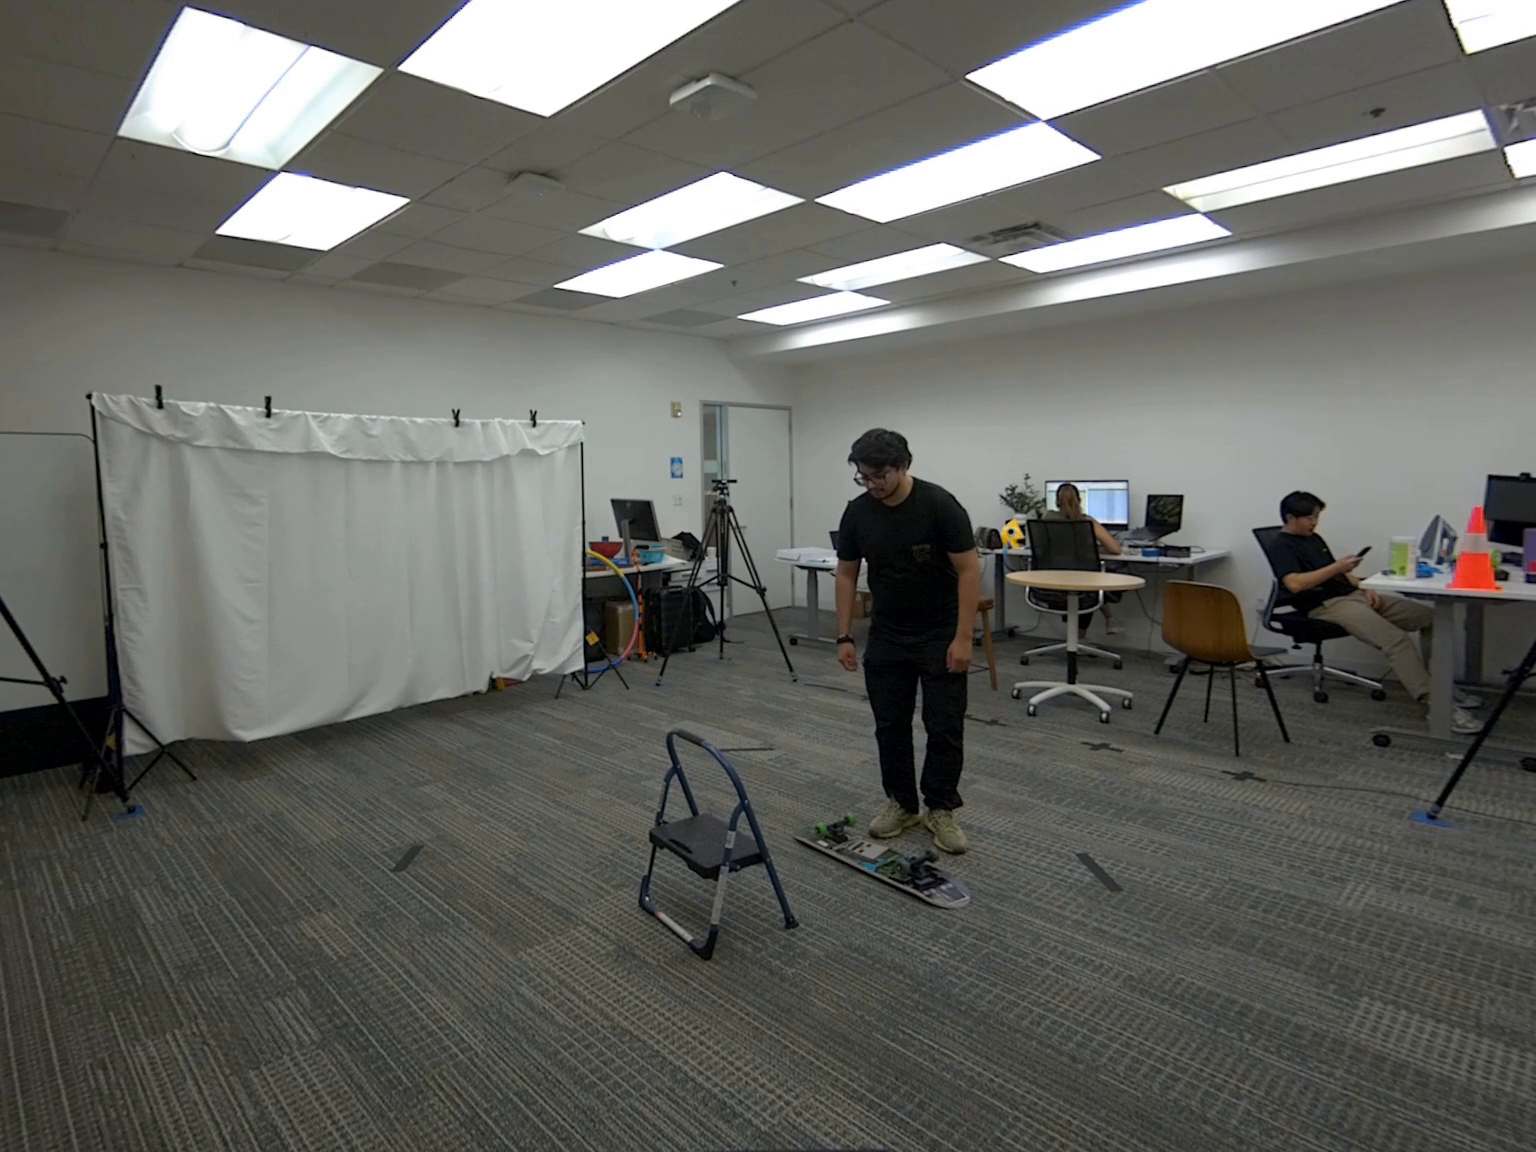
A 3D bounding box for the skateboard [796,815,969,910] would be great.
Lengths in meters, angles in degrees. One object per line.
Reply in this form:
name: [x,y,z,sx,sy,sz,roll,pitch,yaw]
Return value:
skateboard: [0.389,0.994,3.085,0.188,0.110,0.810,-5,7,-39]
